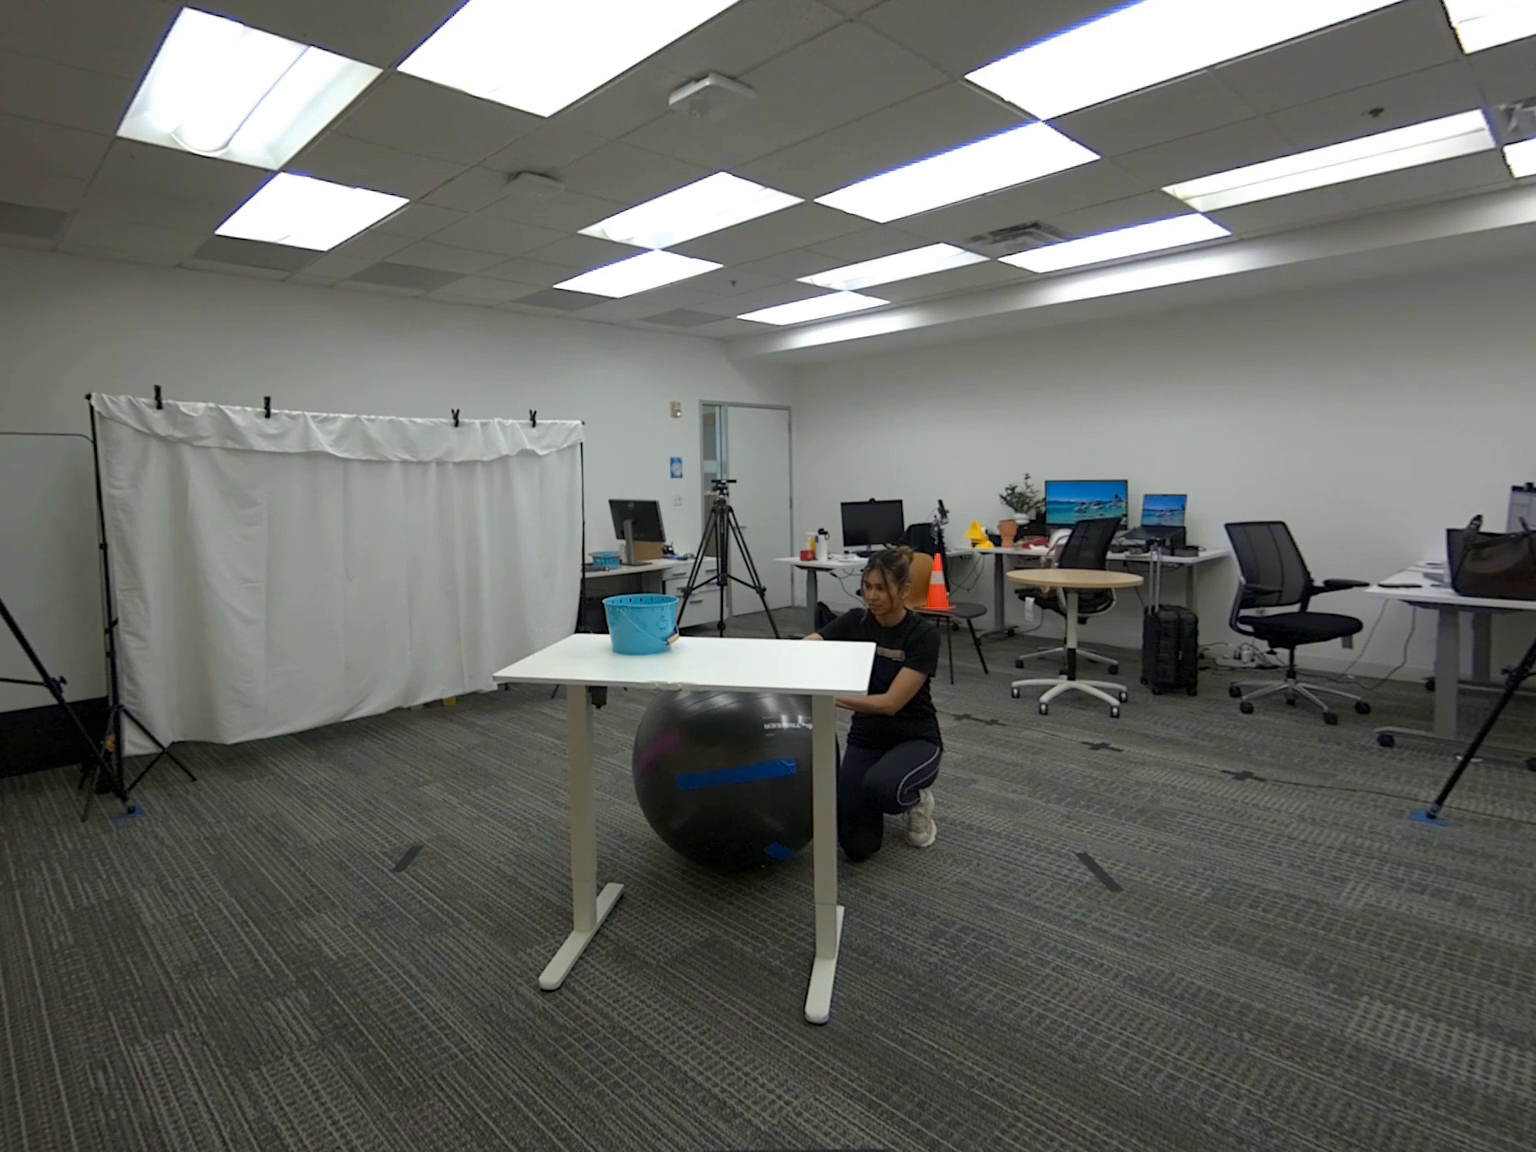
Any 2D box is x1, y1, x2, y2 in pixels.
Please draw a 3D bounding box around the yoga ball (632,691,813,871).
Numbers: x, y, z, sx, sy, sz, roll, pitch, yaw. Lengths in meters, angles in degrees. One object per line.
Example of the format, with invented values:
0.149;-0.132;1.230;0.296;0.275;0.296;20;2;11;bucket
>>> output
-0.117;0.680;3.123;0.757;0.755;0.762;-1;5;-2;yoga ball
